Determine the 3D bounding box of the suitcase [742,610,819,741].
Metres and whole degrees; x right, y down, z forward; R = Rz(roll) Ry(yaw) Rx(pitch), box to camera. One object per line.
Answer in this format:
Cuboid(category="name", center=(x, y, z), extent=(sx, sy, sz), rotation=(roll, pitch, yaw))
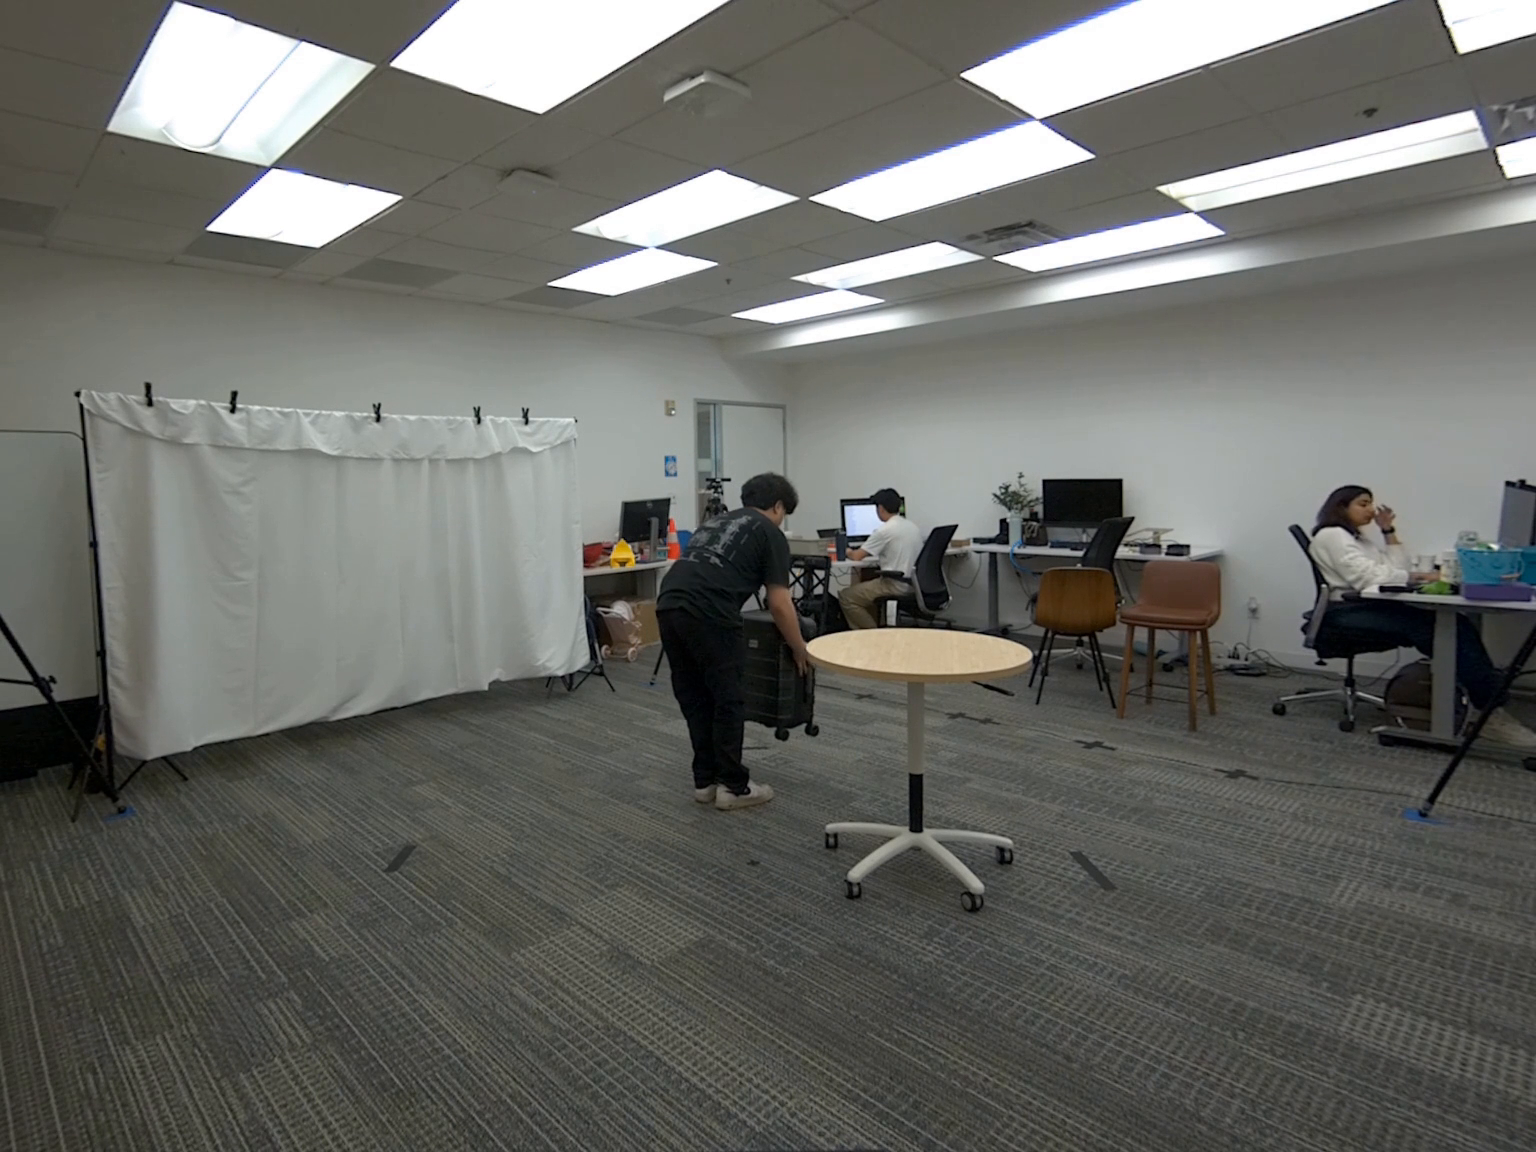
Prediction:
Cuboid(category="suitcase", center=(0.024, 0.444, 3.931), extent=(0.241, 0.550, 0.386), rotation=(1, 0, -44))
